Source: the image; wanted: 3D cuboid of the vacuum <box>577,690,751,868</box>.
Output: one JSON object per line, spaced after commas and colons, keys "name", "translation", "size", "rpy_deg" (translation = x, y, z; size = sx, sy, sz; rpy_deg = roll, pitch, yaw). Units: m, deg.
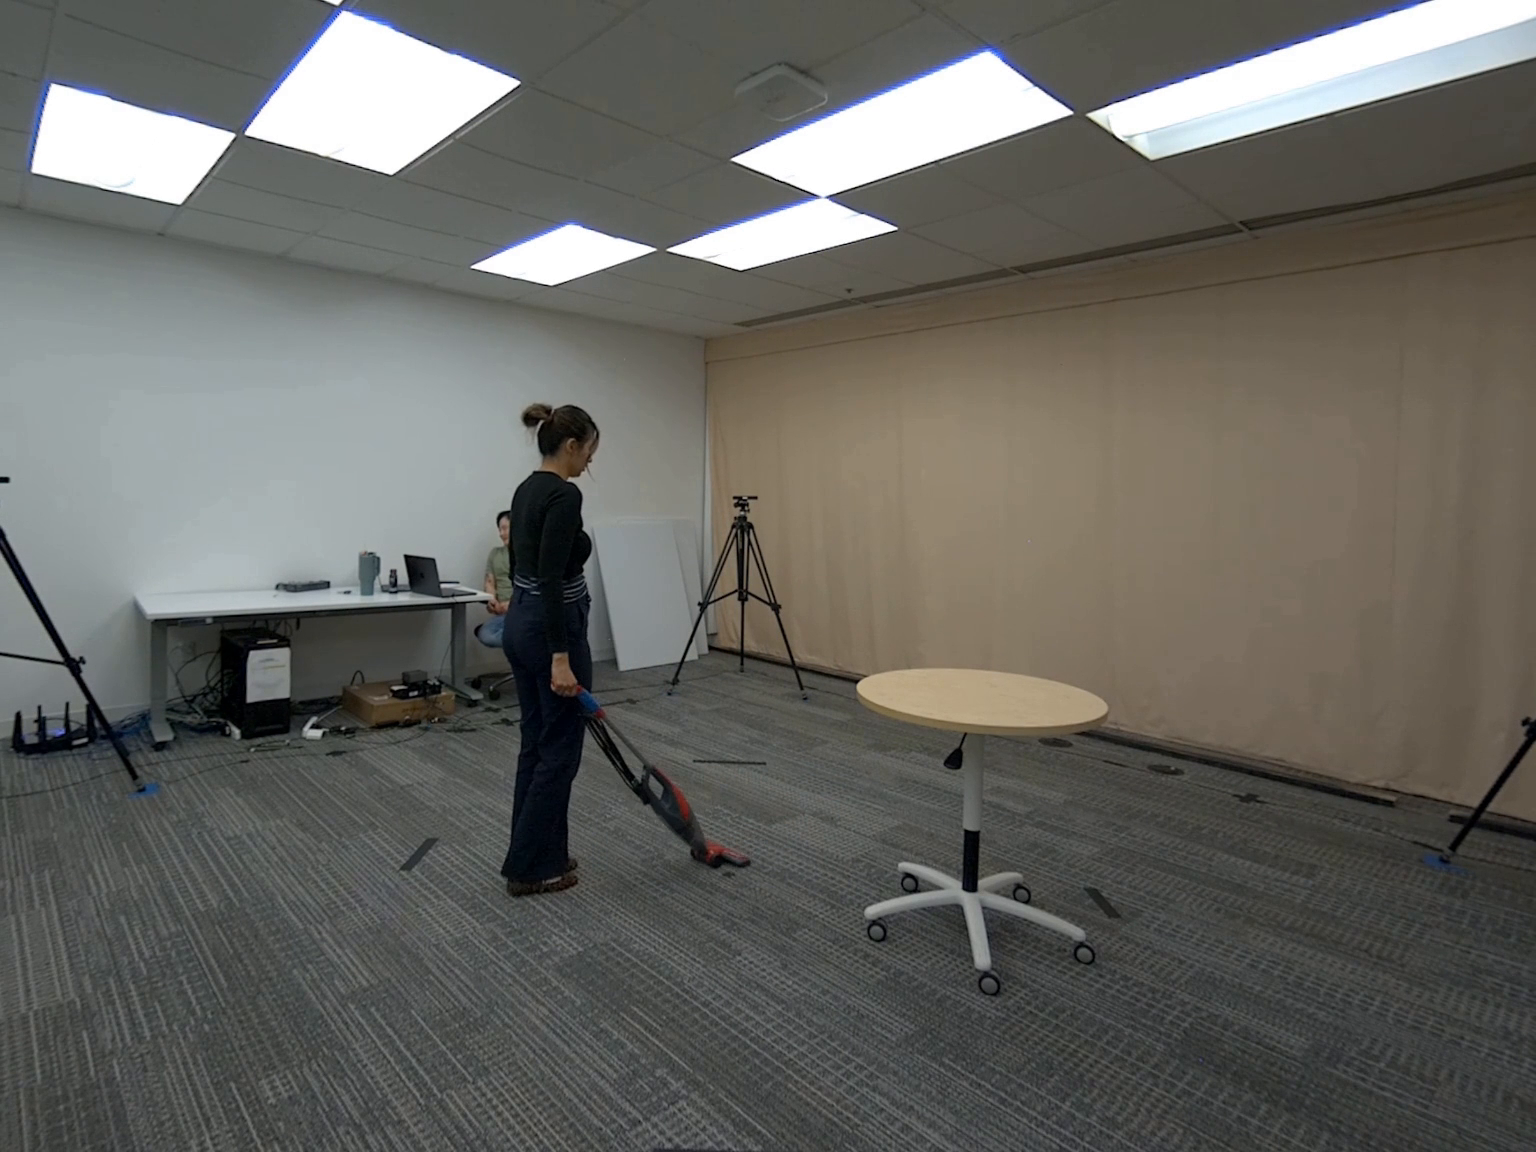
{"name": "vacuum", "translation": [-0.432, 0.721, 2.993], "size": [0.258, 1.020, 0.144], "rpy_deg": [0, 45, 42]}
